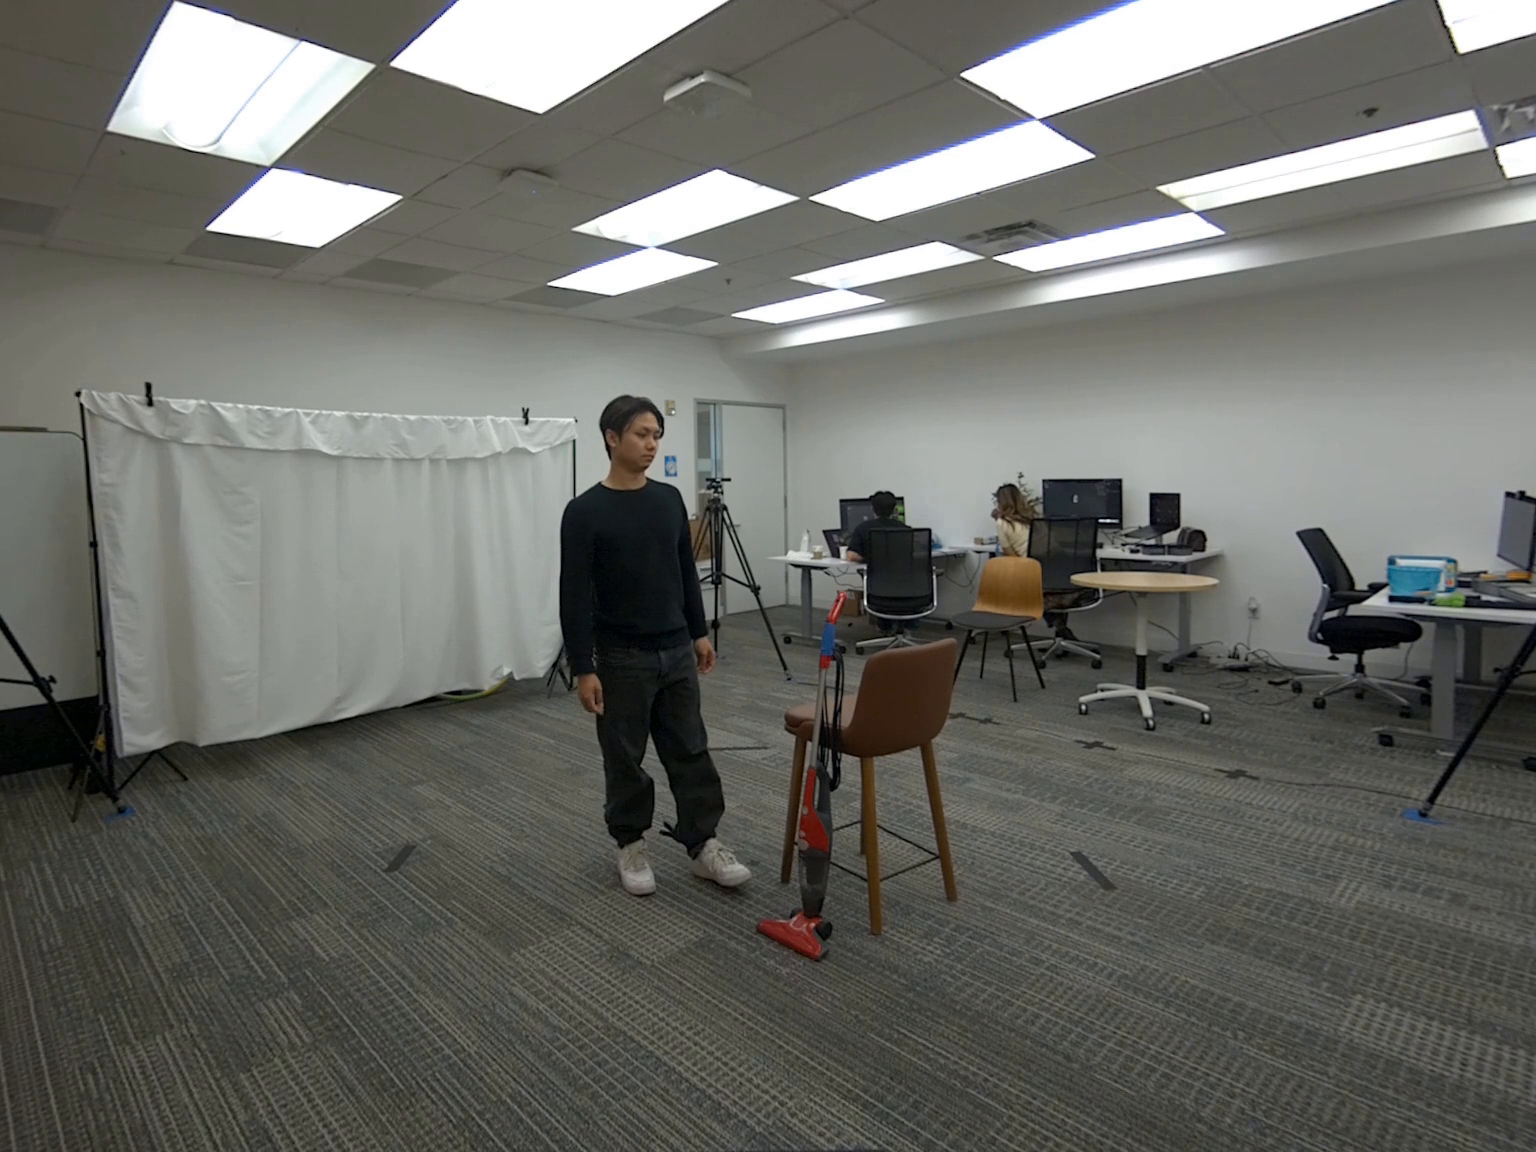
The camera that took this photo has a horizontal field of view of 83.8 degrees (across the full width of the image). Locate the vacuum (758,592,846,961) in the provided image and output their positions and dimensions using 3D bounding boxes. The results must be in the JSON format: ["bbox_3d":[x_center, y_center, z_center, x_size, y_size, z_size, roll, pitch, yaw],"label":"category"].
[{"bbox_3d":[0.179,0.592,2.632,0.139,1.052,0.260,12,-5,-44],"label":"vacuum"}]
